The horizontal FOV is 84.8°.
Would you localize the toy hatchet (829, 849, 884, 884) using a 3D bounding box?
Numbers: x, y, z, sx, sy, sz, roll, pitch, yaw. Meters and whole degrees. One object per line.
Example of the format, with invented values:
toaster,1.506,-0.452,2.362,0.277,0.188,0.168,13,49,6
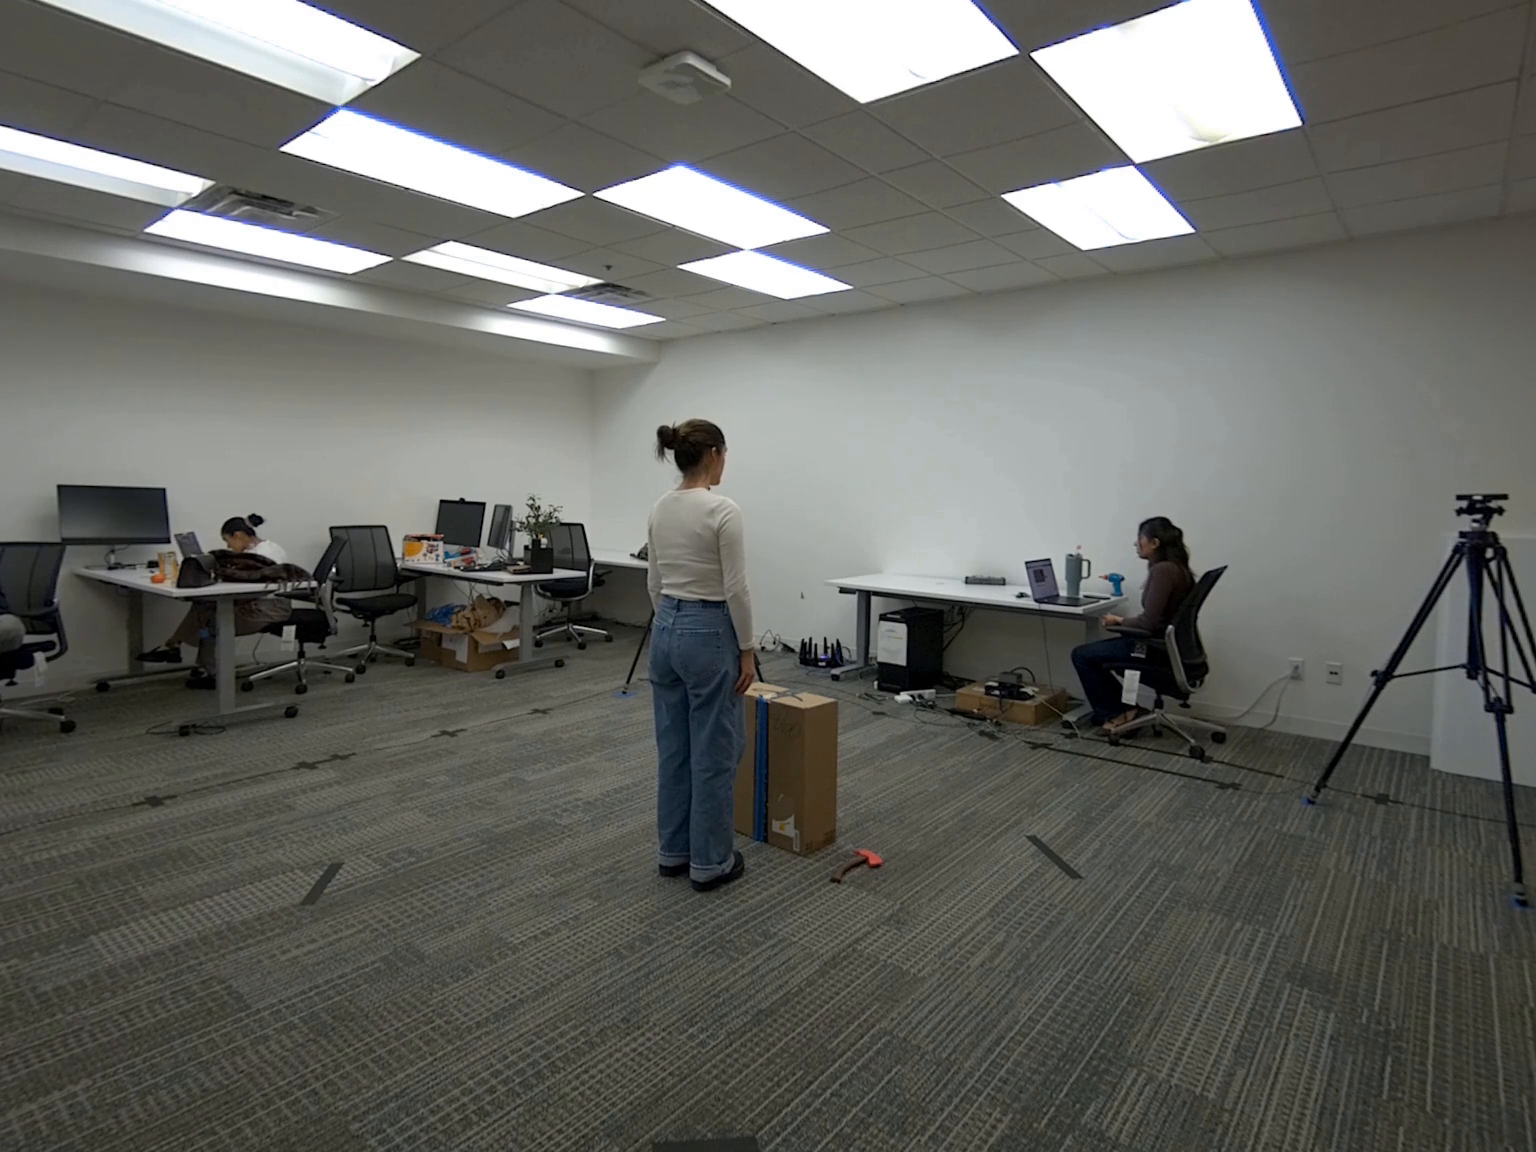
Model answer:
toy hatchet,0.323,1.066,3.106,0.135,0.029,0.264,5,8,26
